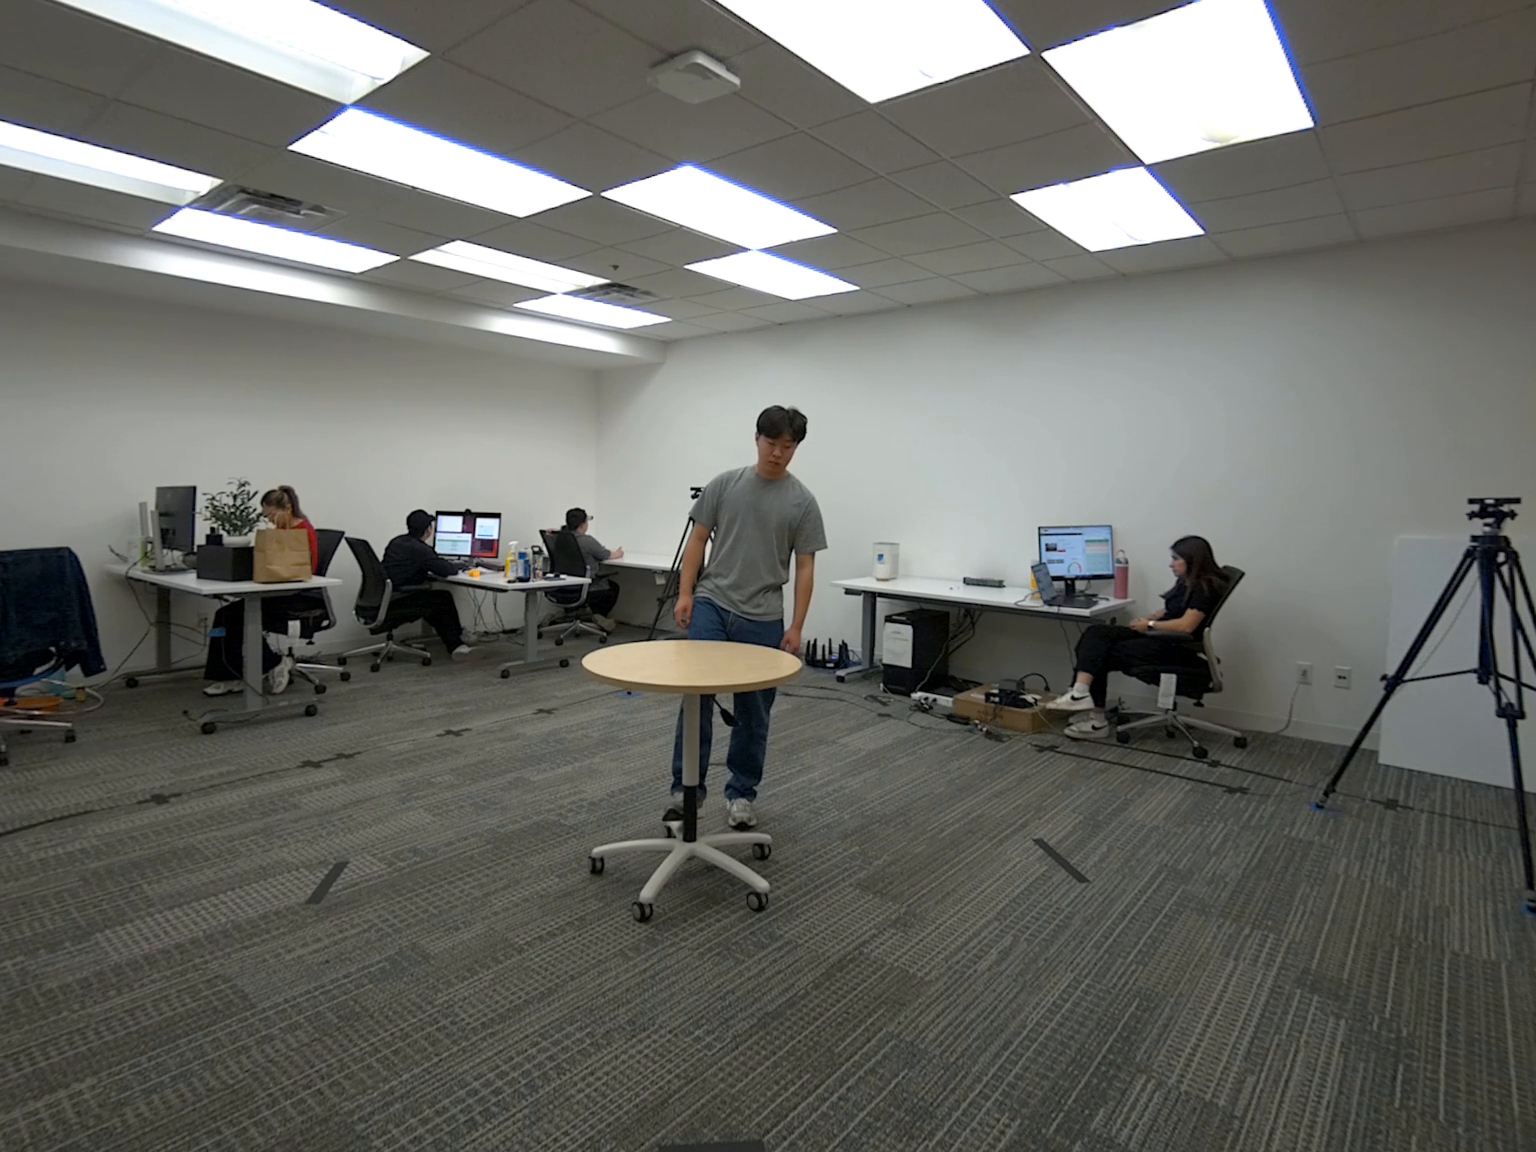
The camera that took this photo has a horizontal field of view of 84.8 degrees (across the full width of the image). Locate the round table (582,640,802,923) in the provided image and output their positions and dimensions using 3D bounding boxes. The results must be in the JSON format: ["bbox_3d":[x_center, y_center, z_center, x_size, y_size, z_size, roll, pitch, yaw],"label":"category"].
[{"bbox_3d":[-0.289,0.687,2.999,0.763,0.791,0.768,1,4,-2],"label":"round table"}]
